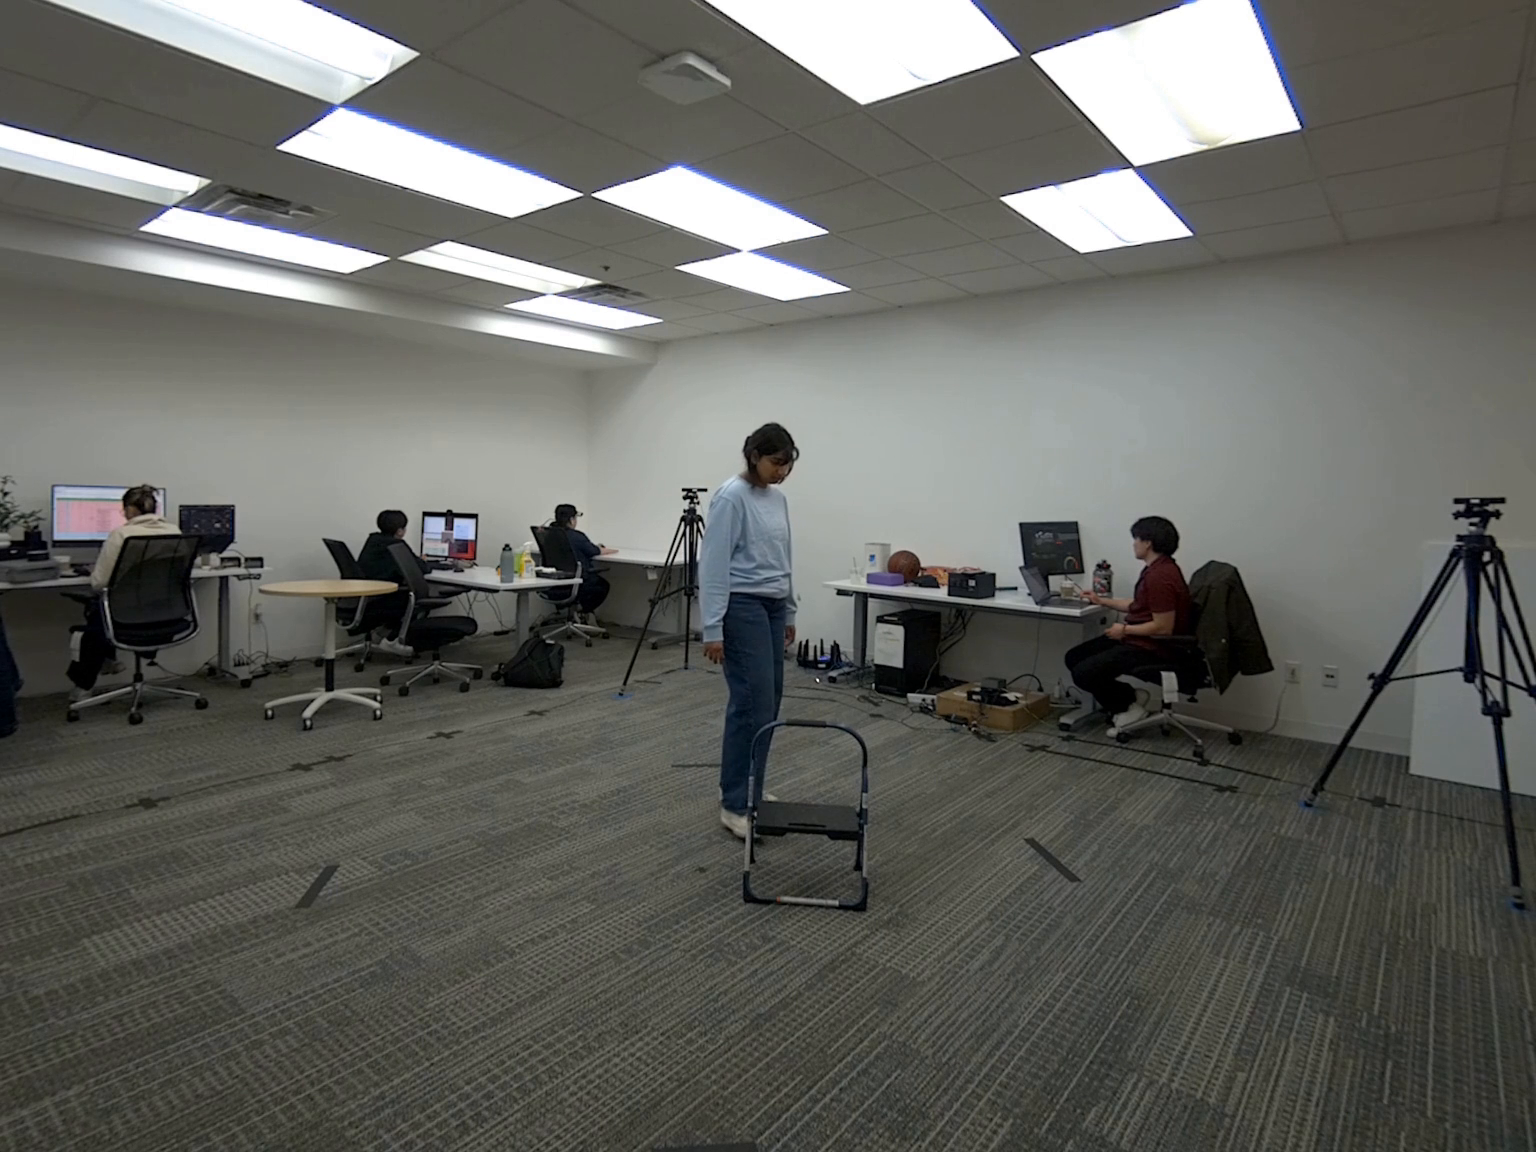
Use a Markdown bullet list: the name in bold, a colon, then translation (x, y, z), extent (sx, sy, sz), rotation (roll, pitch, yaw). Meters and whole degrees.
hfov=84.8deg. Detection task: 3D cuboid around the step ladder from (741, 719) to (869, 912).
- **step ladder**: translation (0.132, 0.786, 2.994), extent (0.433, 0.604, 0.348), rotation (1, 3, 4)
